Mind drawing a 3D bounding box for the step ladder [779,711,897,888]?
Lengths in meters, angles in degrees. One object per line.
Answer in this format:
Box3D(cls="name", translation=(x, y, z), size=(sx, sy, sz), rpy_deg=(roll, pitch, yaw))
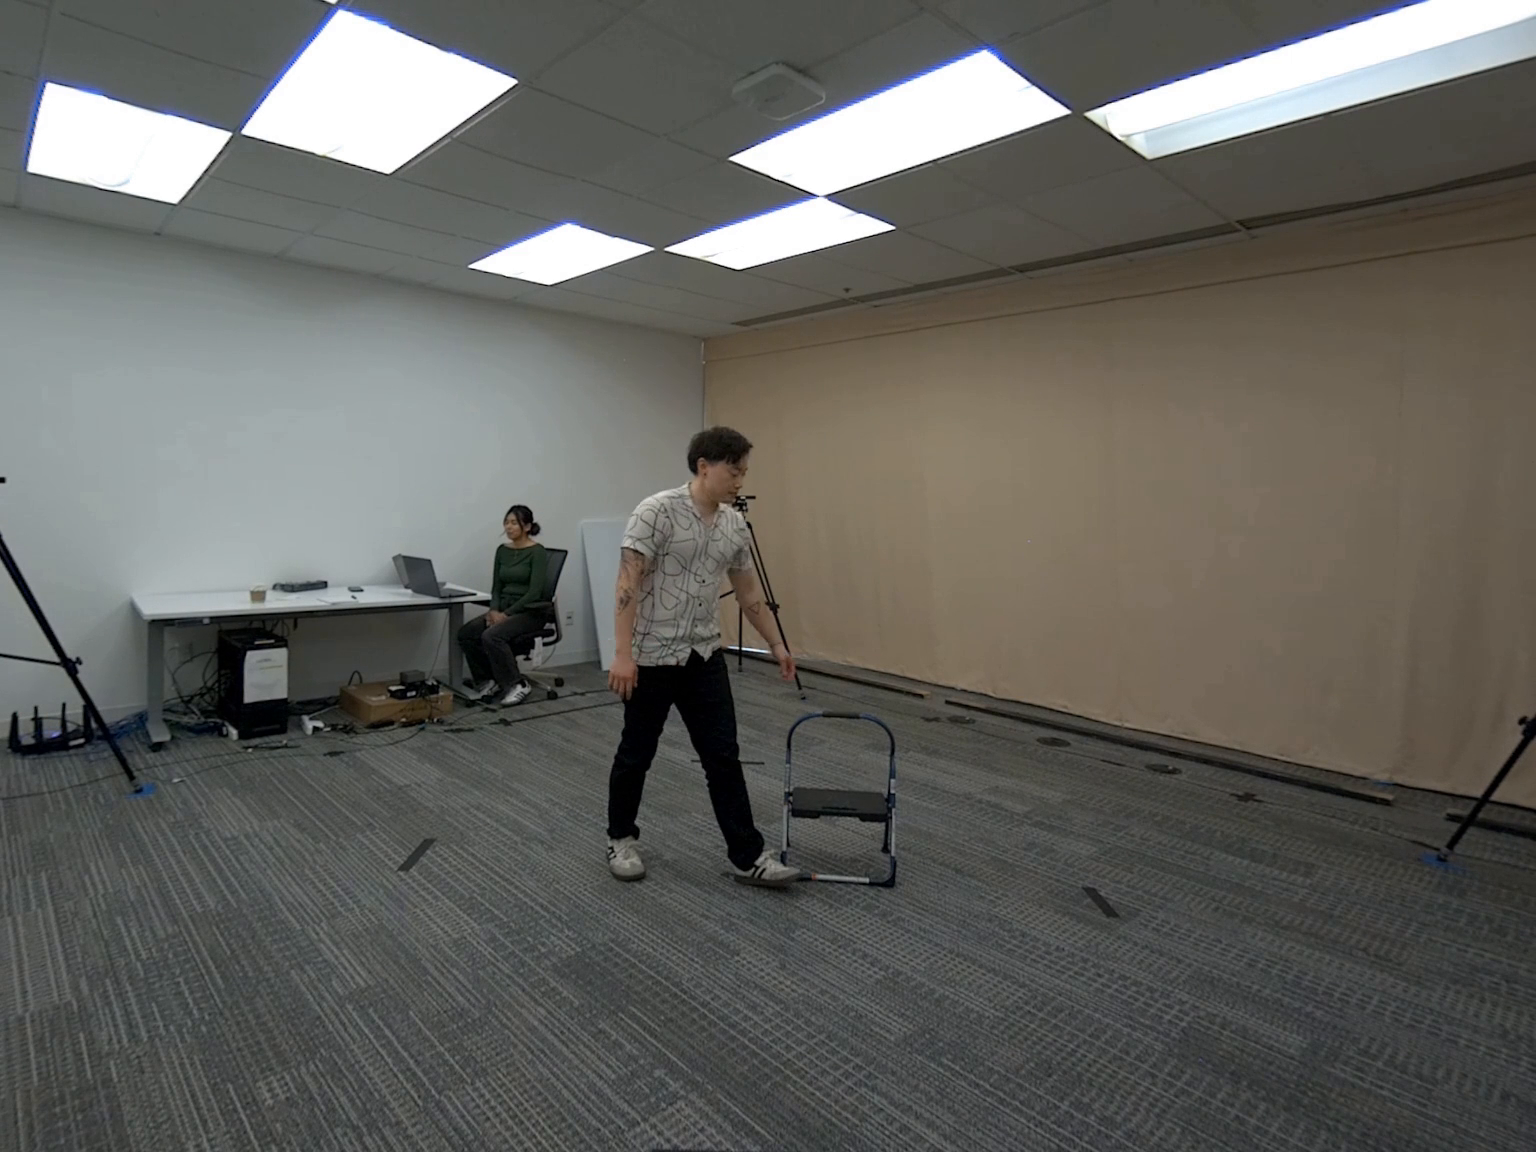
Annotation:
Box3D(cls="step ladder", translation=(0.267, 0.805, 3.202), size=(0.432, 0.605, 0.349), rpy_deg=(3, 3, 3))
